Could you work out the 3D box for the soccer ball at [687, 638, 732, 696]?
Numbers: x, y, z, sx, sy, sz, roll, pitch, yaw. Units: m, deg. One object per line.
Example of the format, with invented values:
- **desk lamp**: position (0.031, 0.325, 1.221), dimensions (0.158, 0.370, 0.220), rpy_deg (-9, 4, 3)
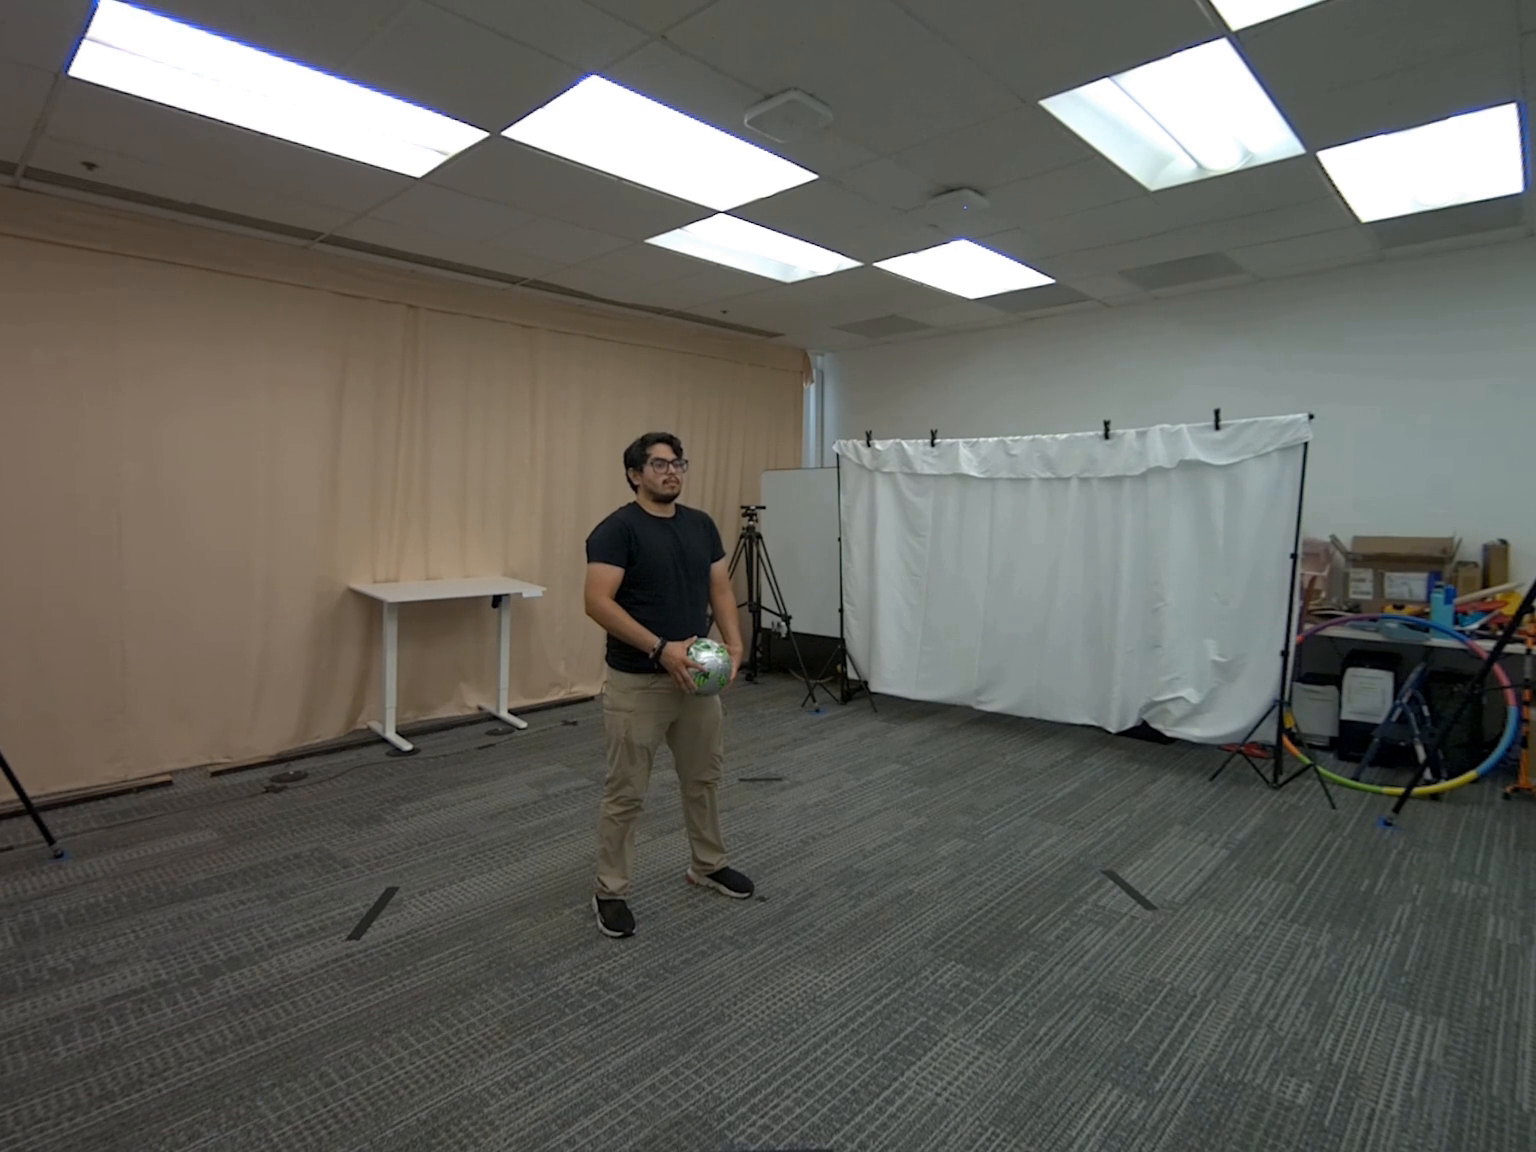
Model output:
- **soccer ball**: position (-0.225, 0.292, 2.673), dimensions (0.187, 0.187, 0.188), rpy_deg (0, 4, -2)
